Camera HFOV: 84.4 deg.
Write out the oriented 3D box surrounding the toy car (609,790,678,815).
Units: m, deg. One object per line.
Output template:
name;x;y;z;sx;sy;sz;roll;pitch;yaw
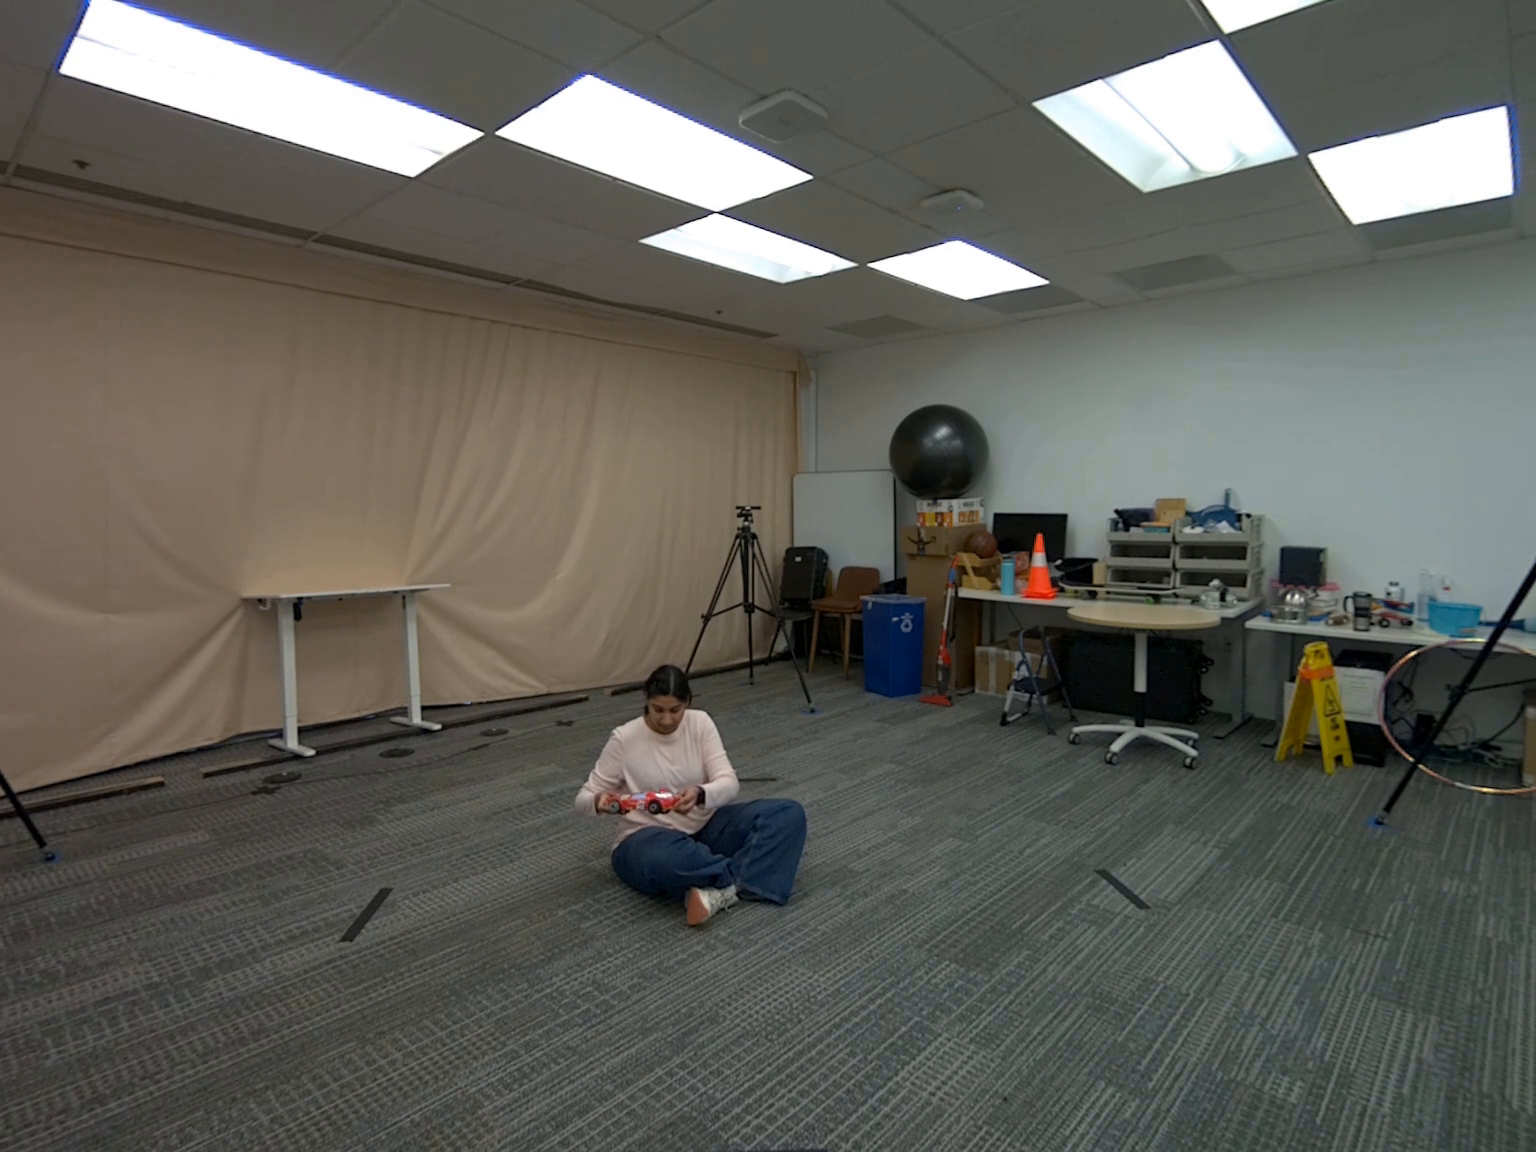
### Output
toy car;-0.422;0.780;2.883;0.258;0.084;0.127;-13;-16;14
